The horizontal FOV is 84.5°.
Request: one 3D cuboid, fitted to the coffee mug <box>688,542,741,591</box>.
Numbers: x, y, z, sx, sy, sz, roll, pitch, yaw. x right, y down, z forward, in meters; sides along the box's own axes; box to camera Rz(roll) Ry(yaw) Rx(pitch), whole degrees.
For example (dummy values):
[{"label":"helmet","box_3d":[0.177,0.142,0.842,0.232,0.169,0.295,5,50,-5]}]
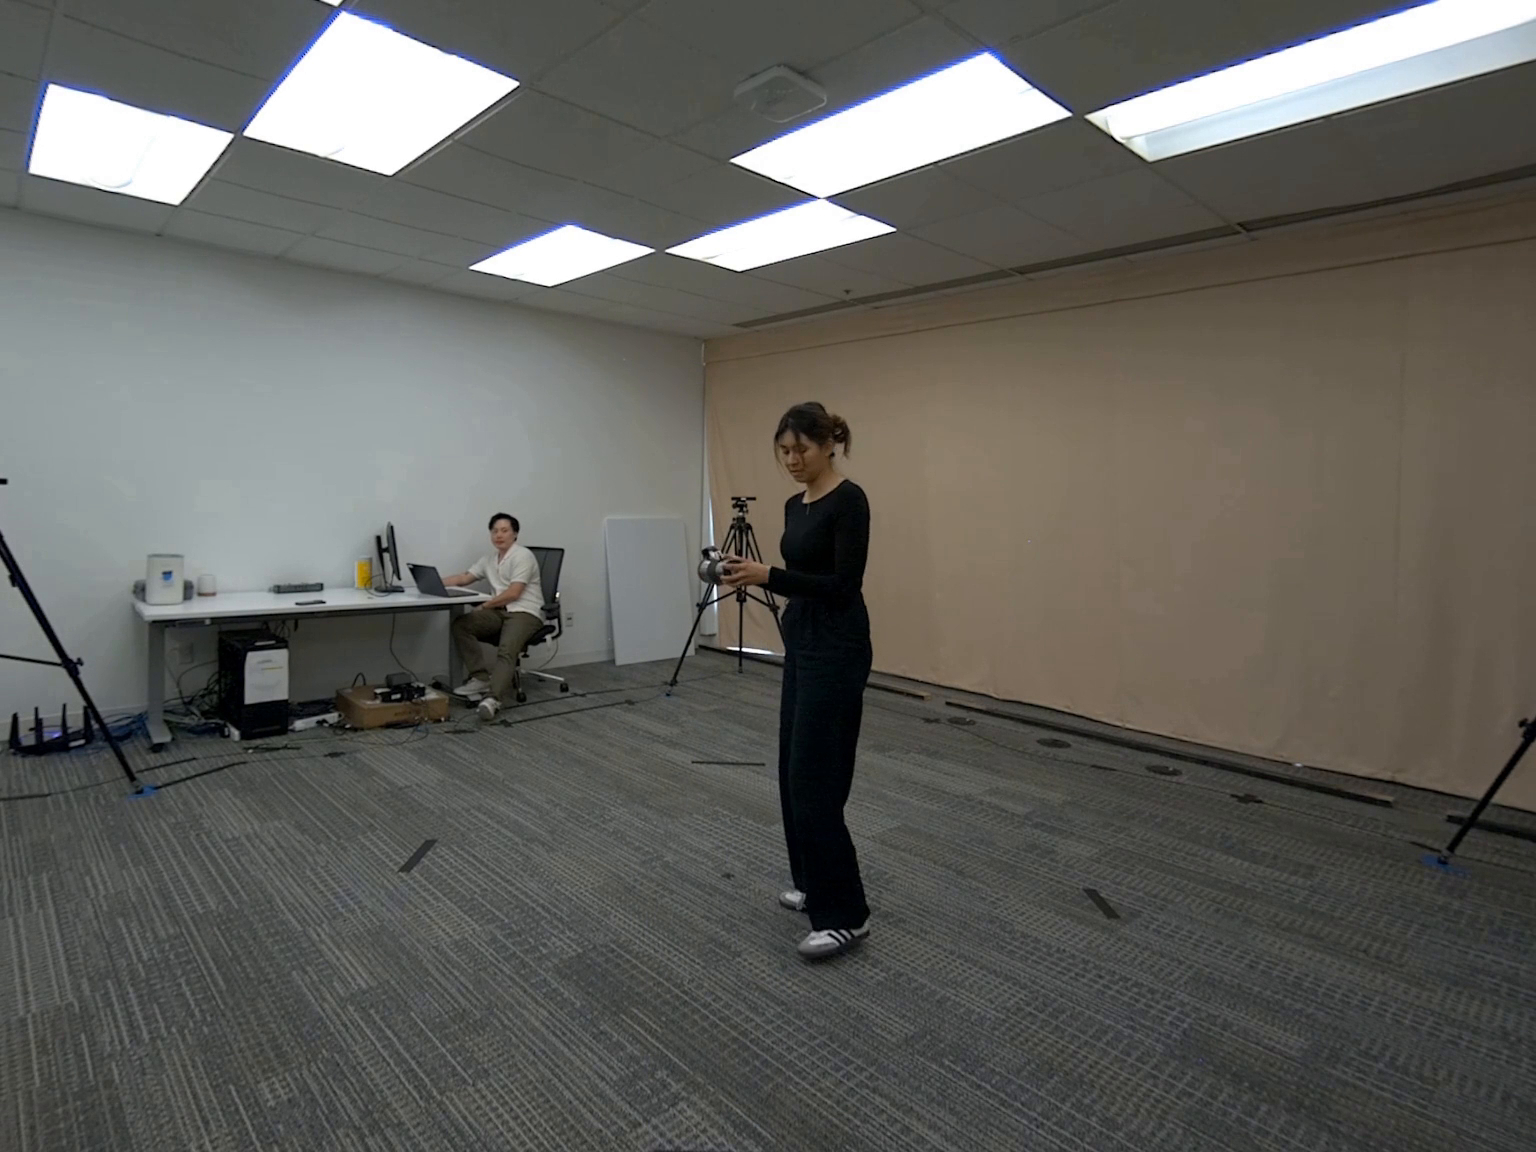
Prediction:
[{"label":"coffee mug","box_3d":[-0.157,-0.031,2.692,0.087,0.120,0.206,-37,12,-18]}]
